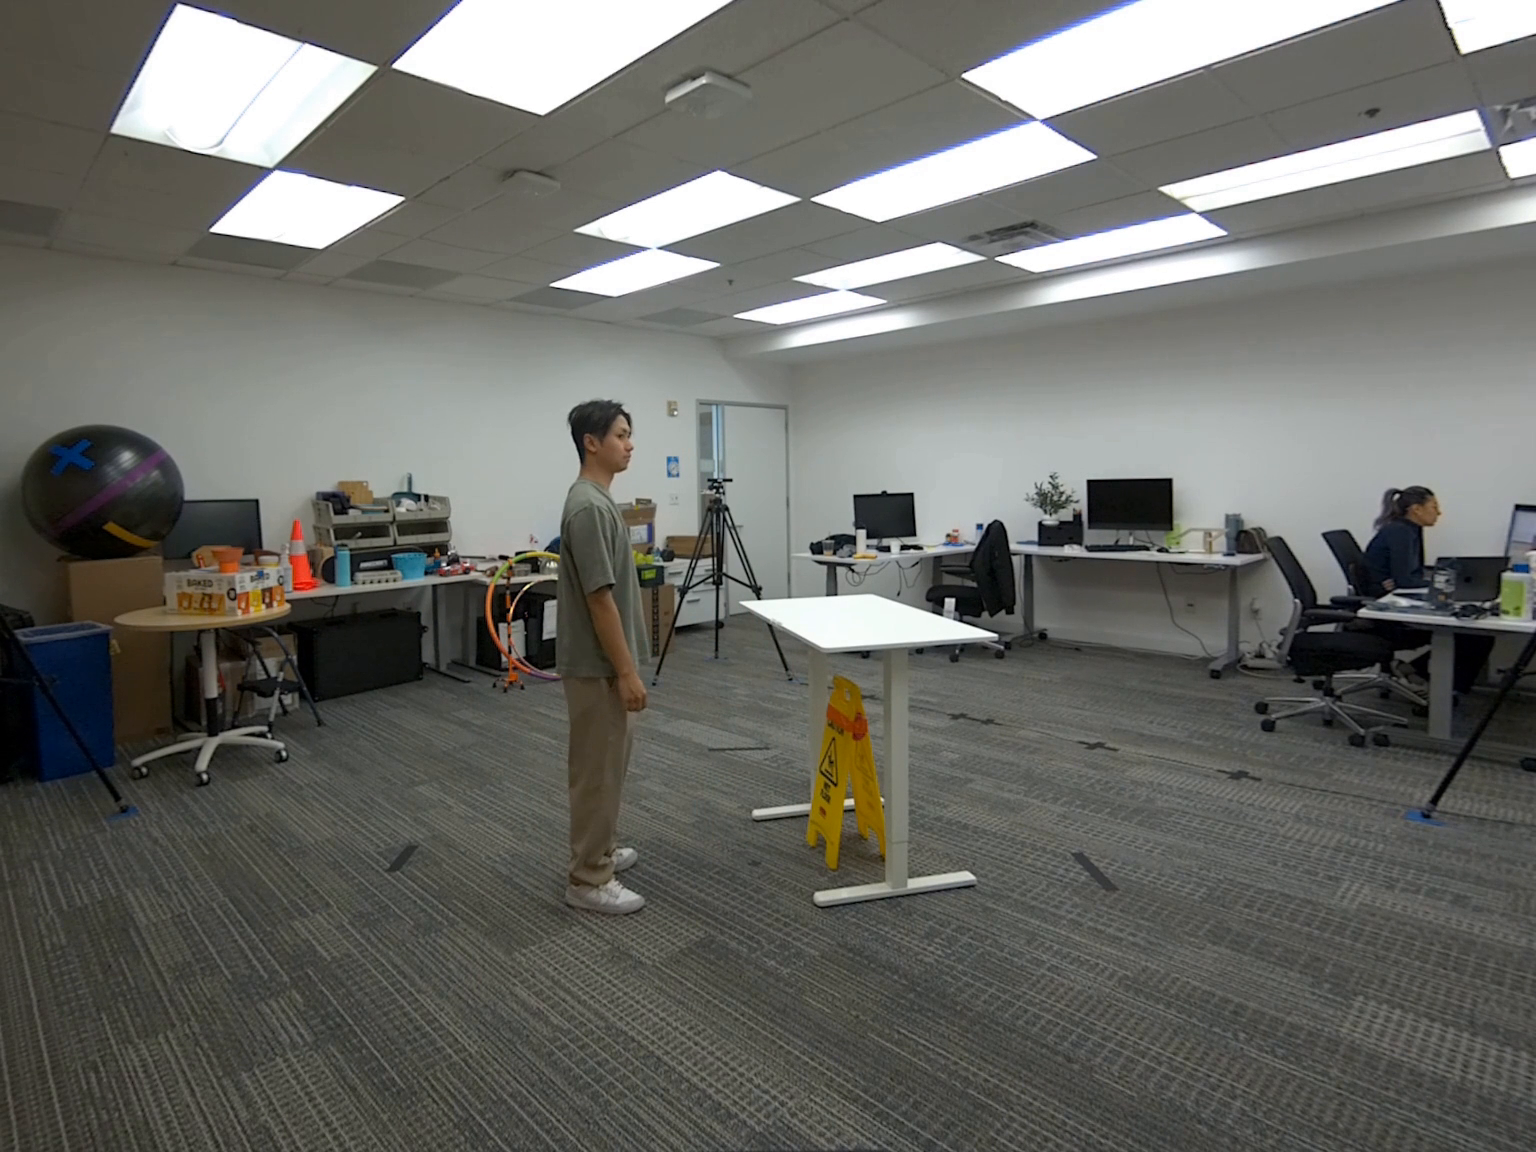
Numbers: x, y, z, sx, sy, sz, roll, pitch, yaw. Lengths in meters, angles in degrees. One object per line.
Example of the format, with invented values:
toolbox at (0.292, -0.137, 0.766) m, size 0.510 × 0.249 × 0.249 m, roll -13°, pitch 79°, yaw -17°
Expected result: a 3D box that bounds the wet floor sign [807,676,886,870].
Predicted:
wet floor sign at (0.311, 0.716, 3.170) m, size 0.286 × 0.642 × 0.288 m, roll -1°, pitch 7°, yaw -16°
